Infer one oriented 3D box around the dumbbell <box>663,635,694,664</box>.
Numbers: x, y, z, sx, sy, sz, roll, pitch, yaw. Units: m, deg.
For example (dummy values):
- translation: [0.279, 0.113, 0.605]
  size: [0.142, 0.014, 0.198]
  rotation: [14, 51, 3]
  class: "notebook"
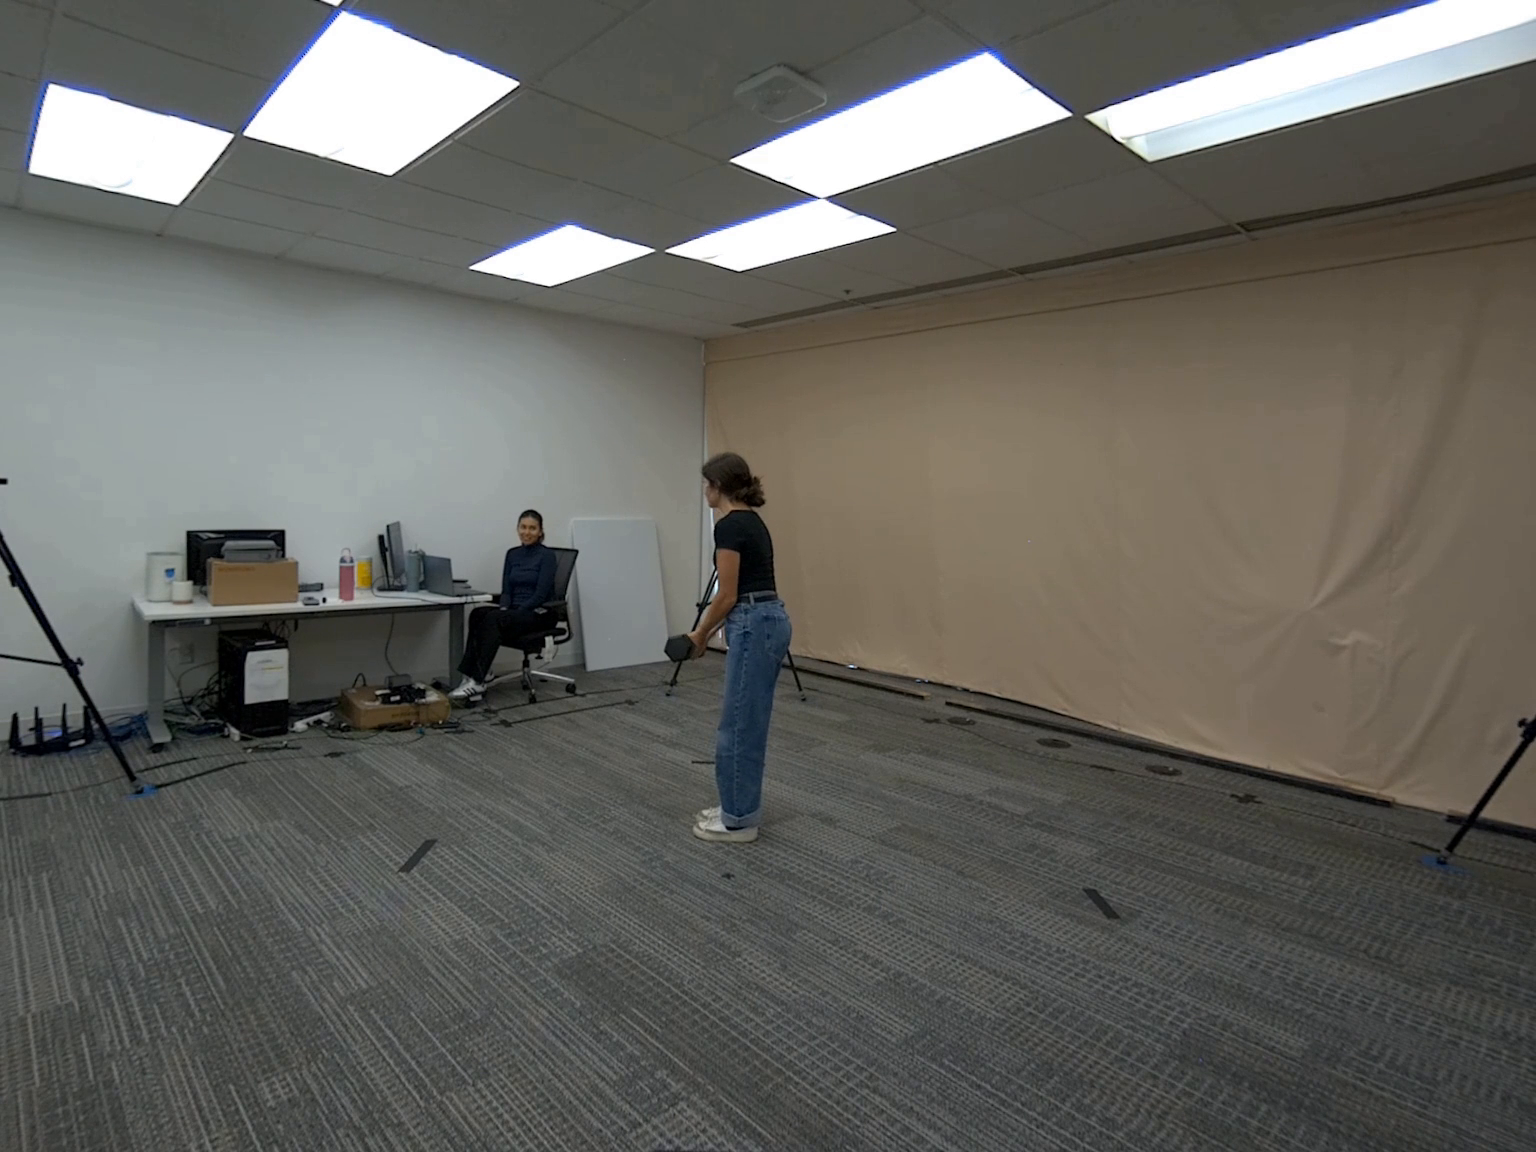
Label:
- translation: [-0.352, 0.285, 3.558]
  size: [0.110, 0.123, 0.291]
  rotation: [20, 2, 9]
  class: "dumbbell"
